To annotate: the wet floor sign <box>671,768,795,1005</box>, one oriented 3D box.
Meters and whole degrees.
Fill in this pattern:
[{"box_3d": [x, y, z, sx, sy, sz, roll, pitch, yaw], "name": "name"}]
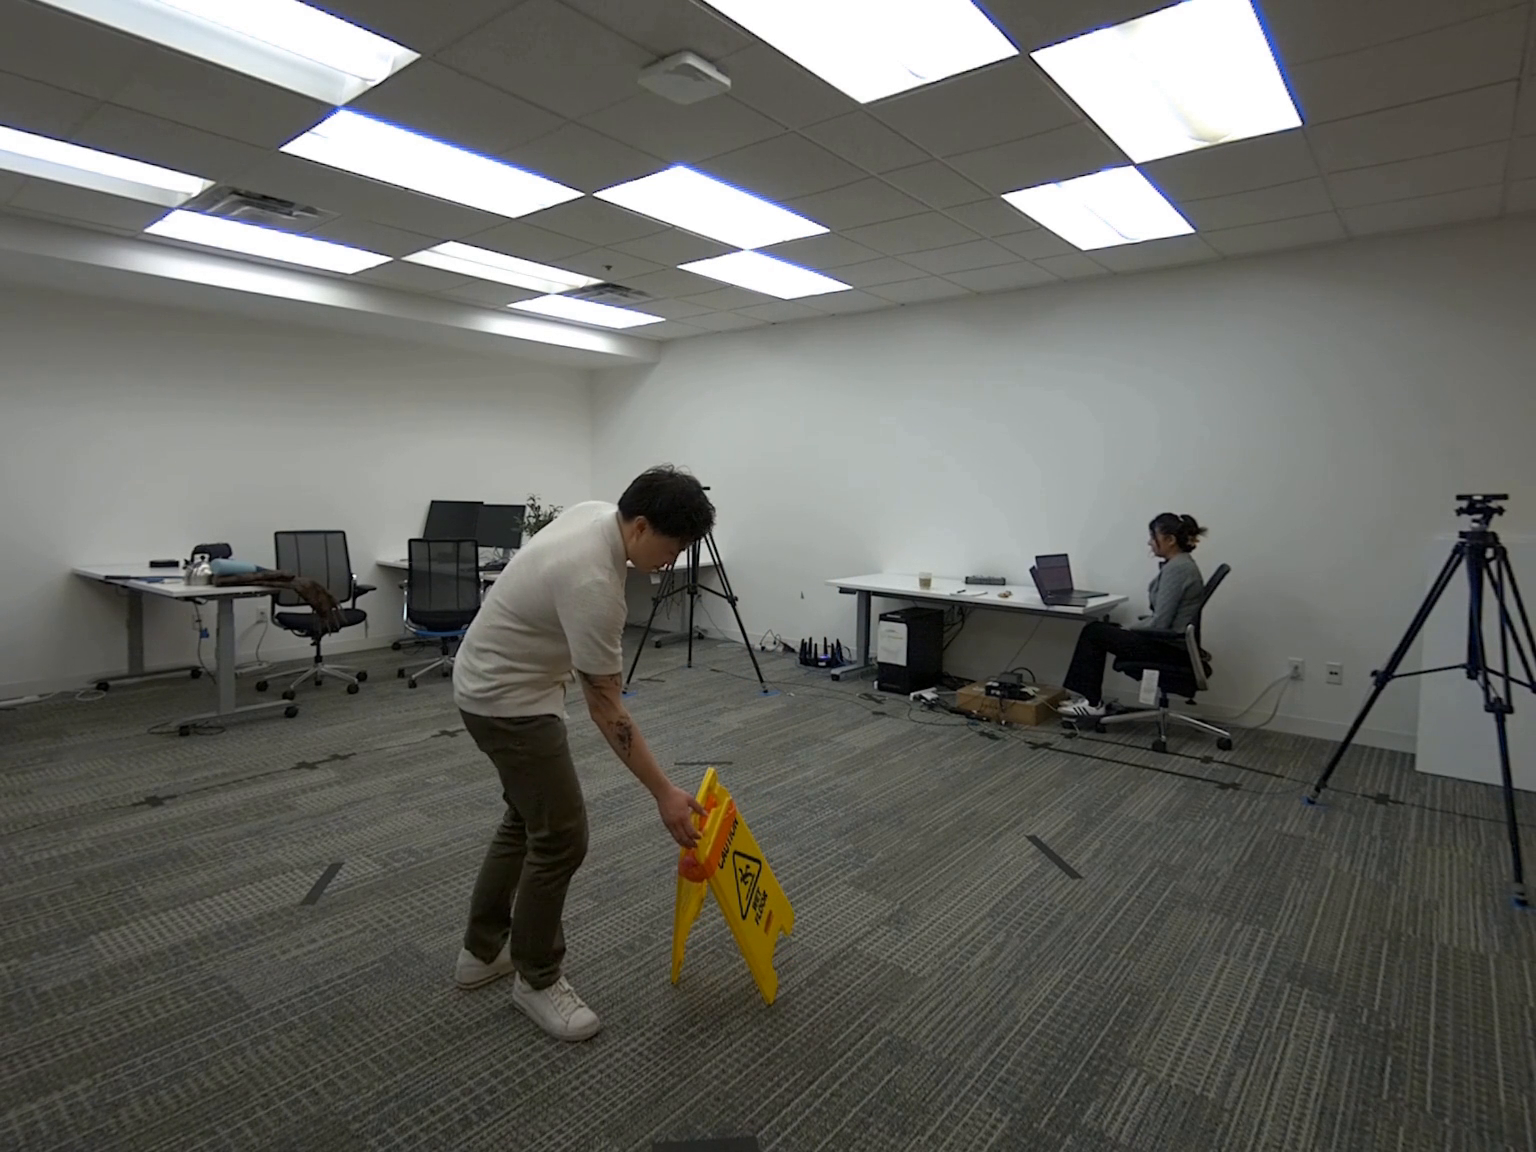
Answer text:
[{"box_3d": [-0.138, 0.811, 2.275, 0.295, 0.627, 0.285, 3, 34, 17], "name": "wet floor sign"}]
